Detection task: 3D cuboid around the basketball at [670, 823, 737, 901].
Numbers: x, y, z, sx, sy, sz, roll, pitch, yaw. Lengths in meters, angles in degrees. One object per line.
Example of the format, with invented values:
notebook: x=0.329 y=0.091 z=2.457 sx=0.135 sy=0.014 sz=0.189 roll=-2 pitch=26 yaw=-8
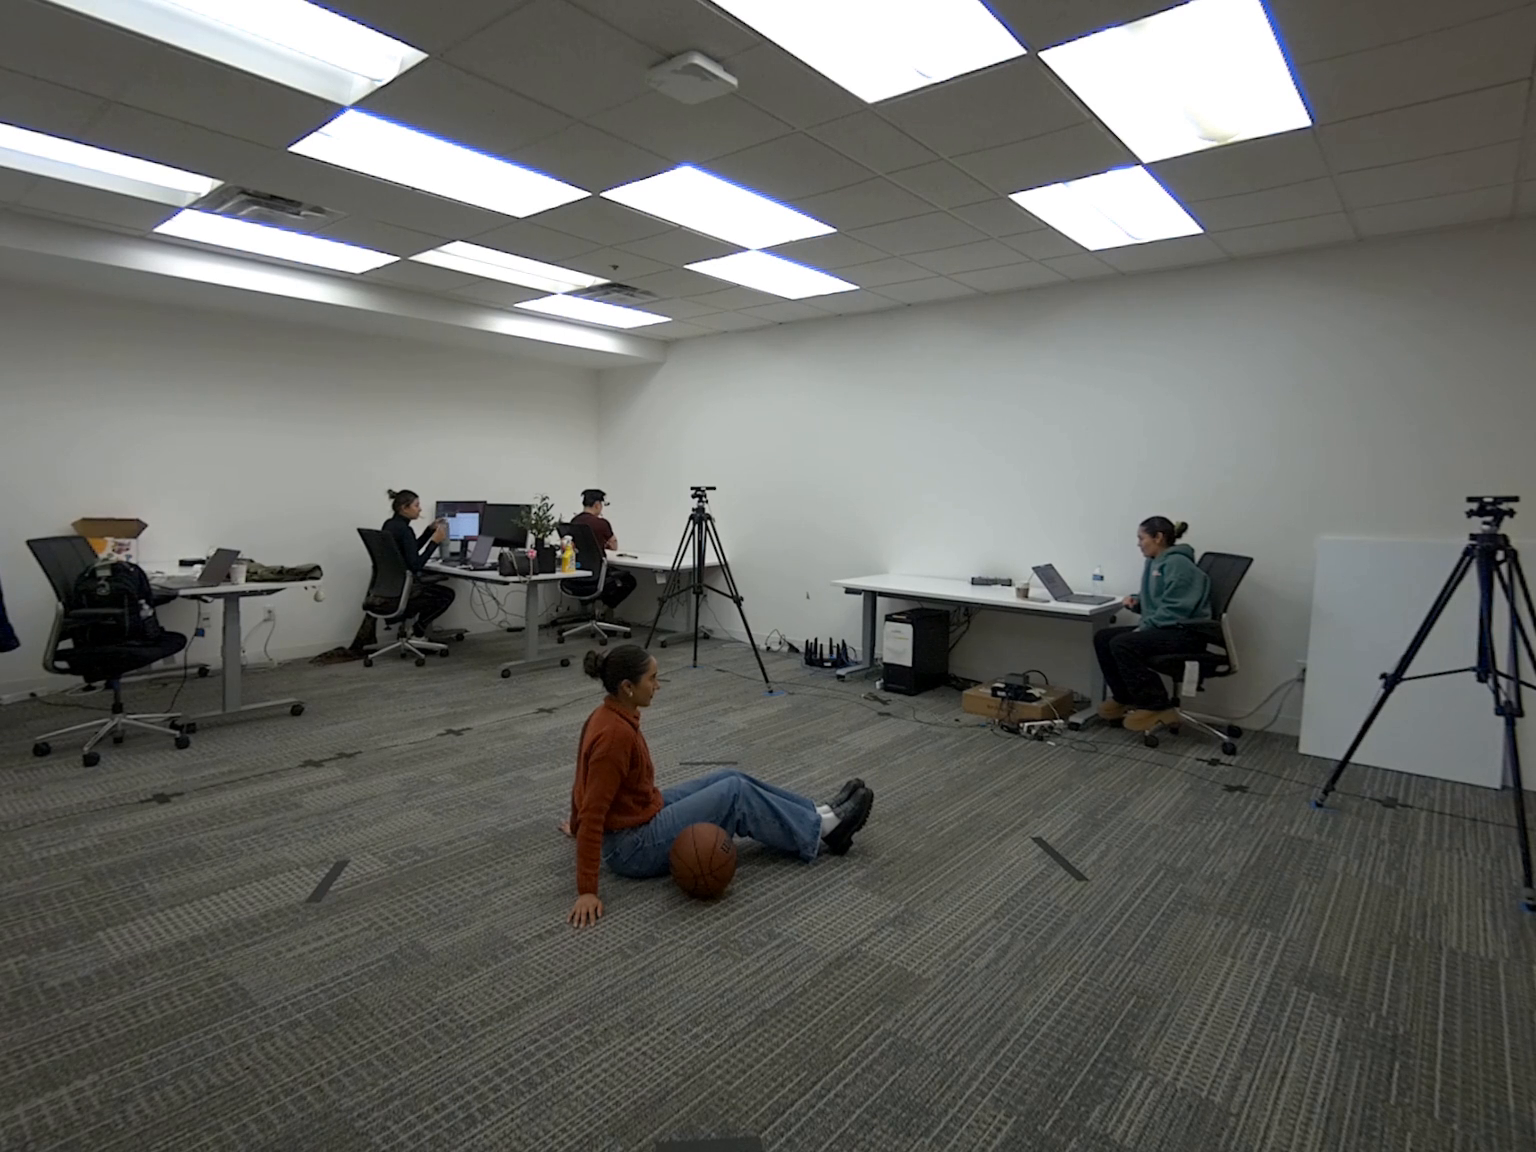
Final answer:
basketball: x=-0.230 y=0.964 z=2.908 sx=0.235 sy=0.235 sz=0.237 roll=1 pitch=4 yaw=-2
